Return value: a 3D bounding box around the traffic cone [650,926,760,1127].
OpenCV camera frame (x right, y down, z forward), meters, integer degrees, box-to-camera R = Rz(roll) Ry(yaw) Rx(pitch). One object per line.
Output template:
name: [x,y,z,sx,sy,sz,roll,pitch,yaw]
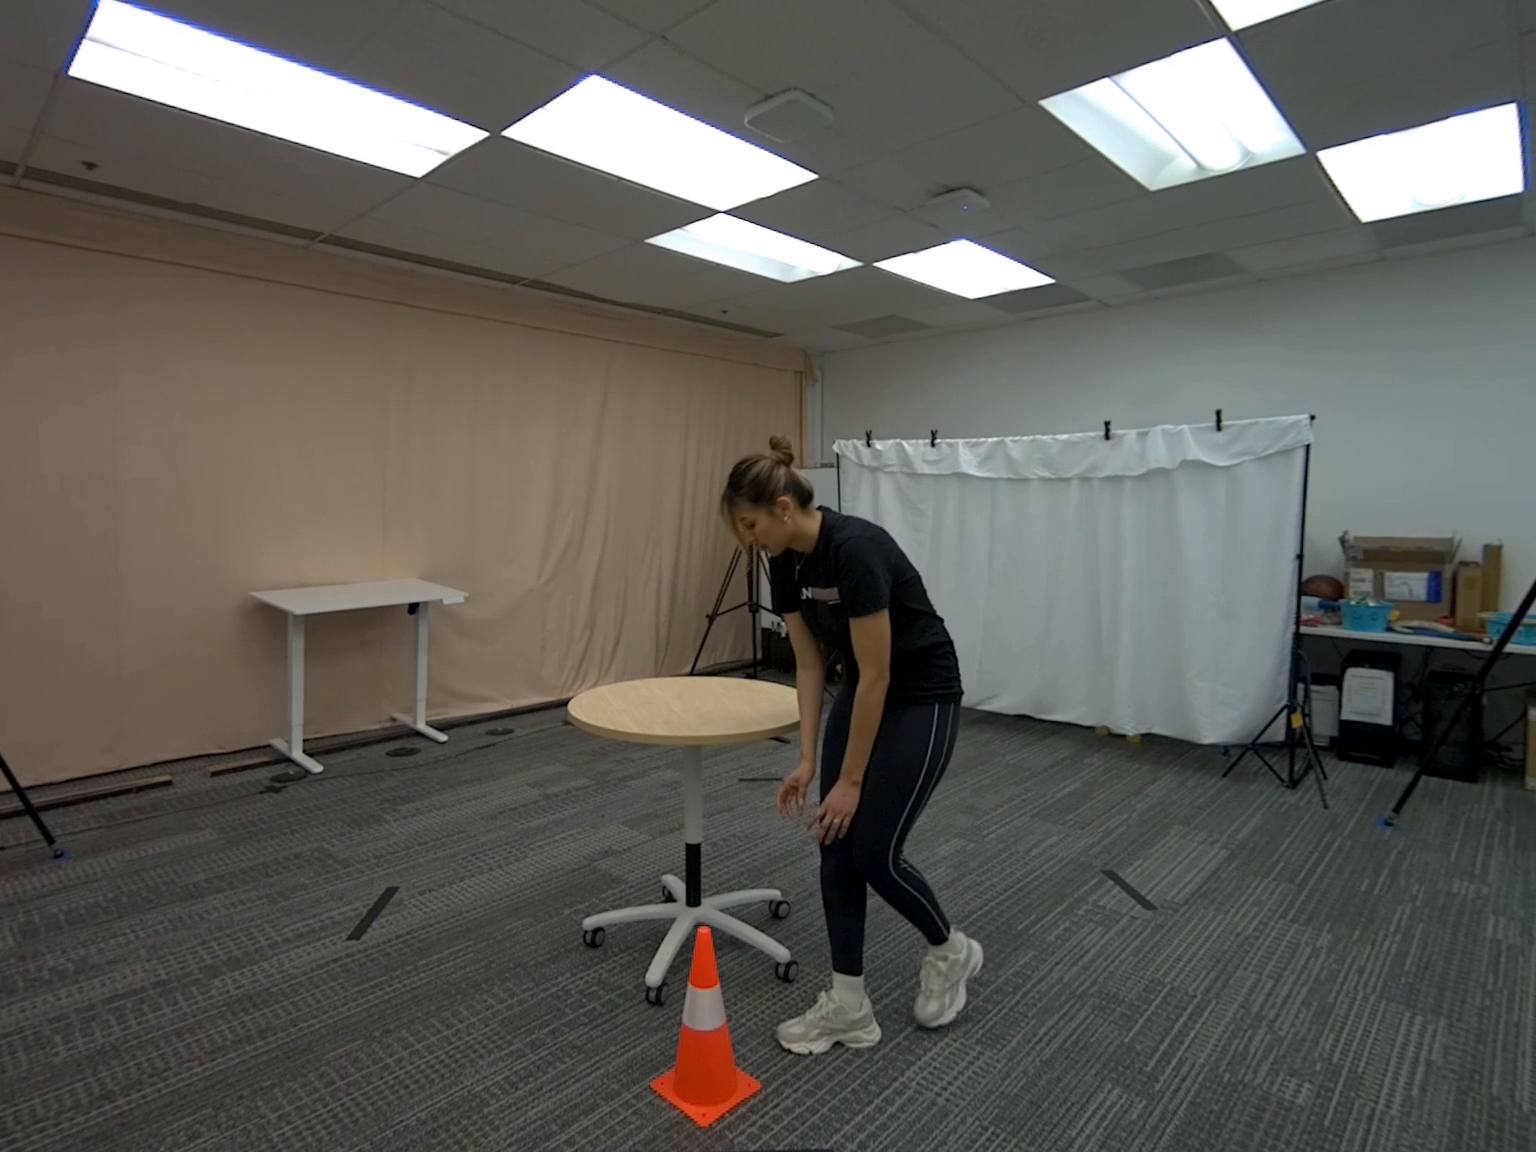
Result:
traffic cone: [-0.143,1.047,2.005,0.197,0.382,0.212,-4,6,-38]
